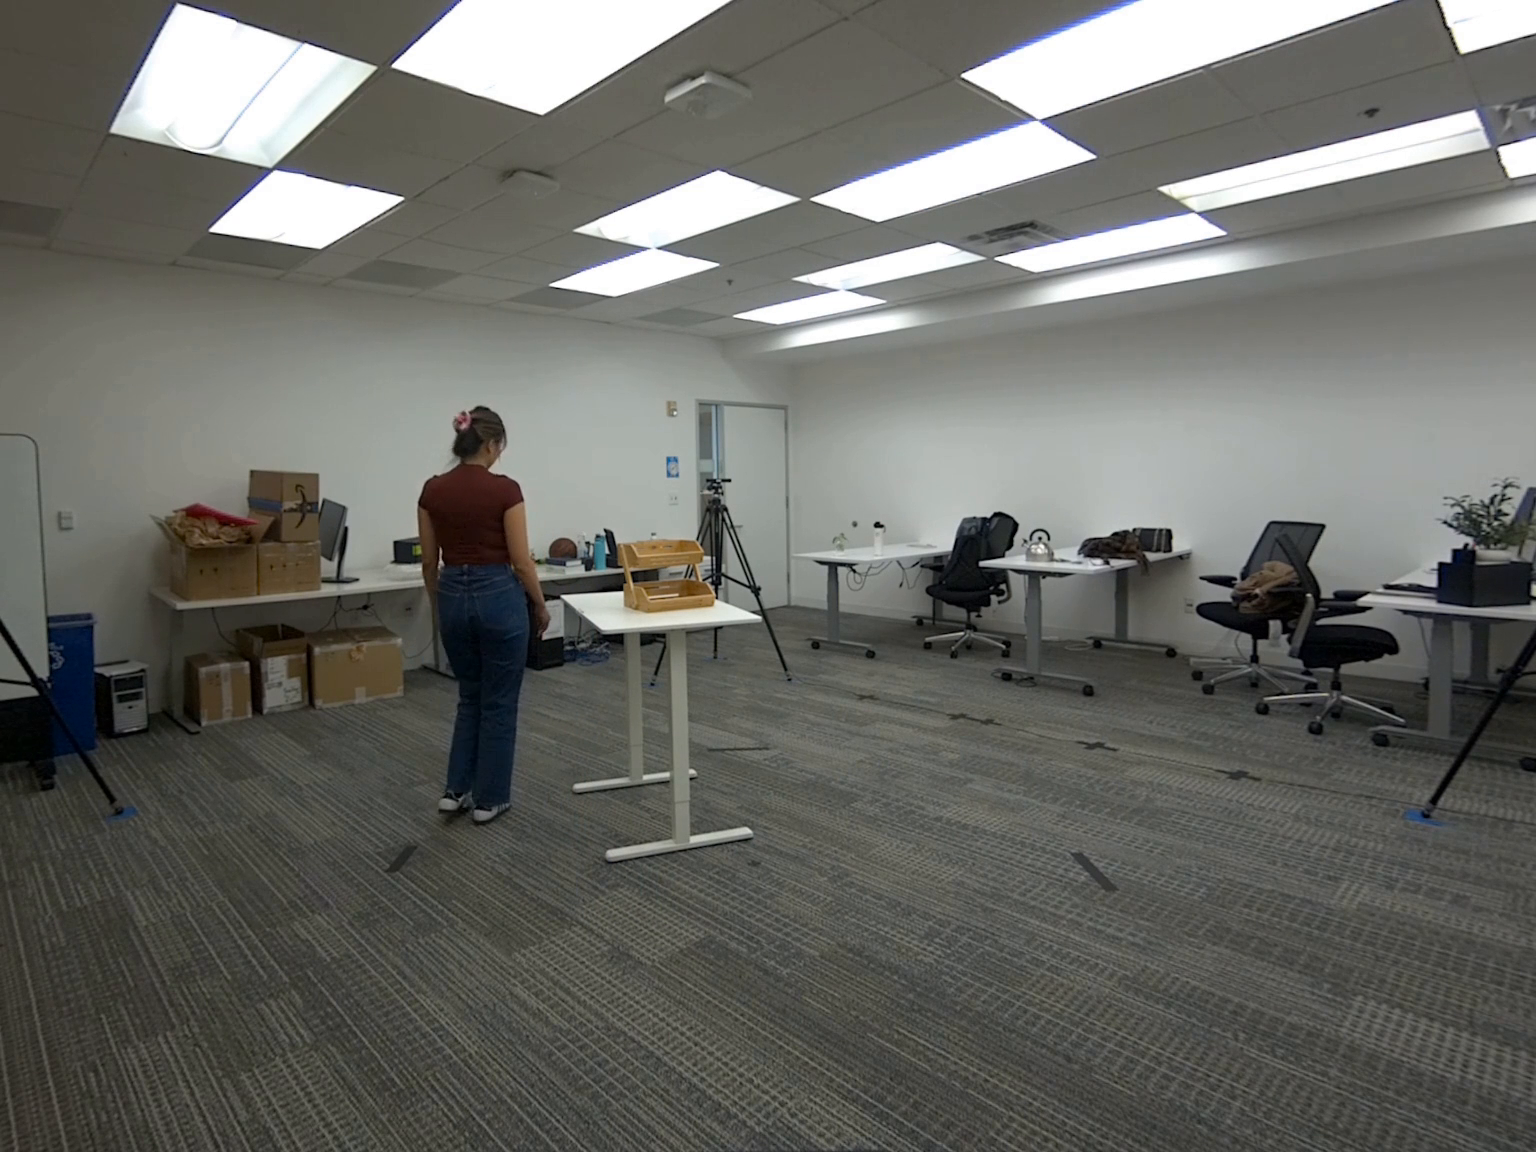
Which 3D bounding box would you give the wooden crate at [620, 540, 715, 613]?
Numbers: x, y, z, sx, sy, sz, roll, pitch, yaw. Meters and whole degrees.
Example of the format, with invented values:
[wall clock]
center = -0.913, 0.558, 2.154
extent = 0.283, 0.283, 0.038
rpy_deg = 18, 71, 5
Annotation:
[wooden crate]
center = -0.424, -0.011, 3.525
extent = 0.317, 0.272, 0.310
rpy_deg = -4, 5, -31
